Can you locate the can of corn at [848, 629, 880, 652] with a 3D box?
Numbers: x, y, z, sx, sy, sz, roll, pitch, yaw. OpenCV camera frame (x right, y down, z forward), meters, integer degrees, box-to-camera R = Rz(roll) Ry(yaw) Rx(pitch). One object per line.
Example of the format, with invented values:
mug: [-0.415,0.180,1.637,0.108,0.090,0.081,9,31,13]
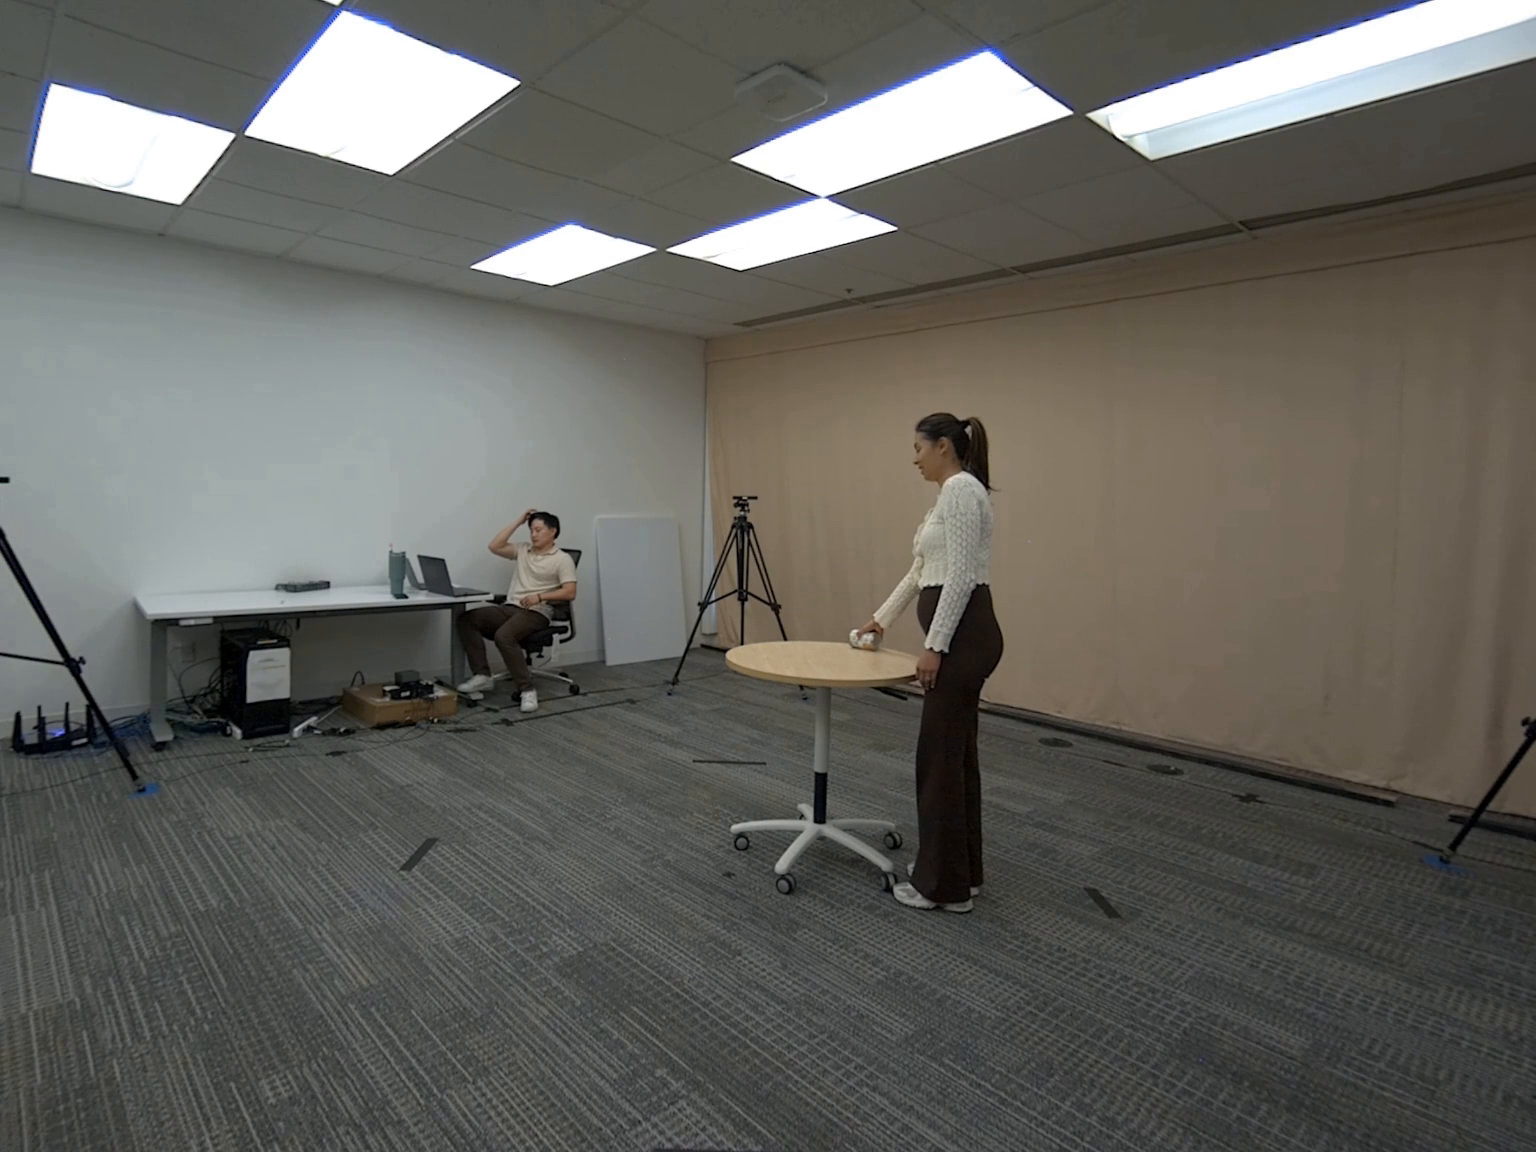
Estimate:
can of corn: [0.393,0.260,3.458,0.114,0.074,0.072,8,7,39]
